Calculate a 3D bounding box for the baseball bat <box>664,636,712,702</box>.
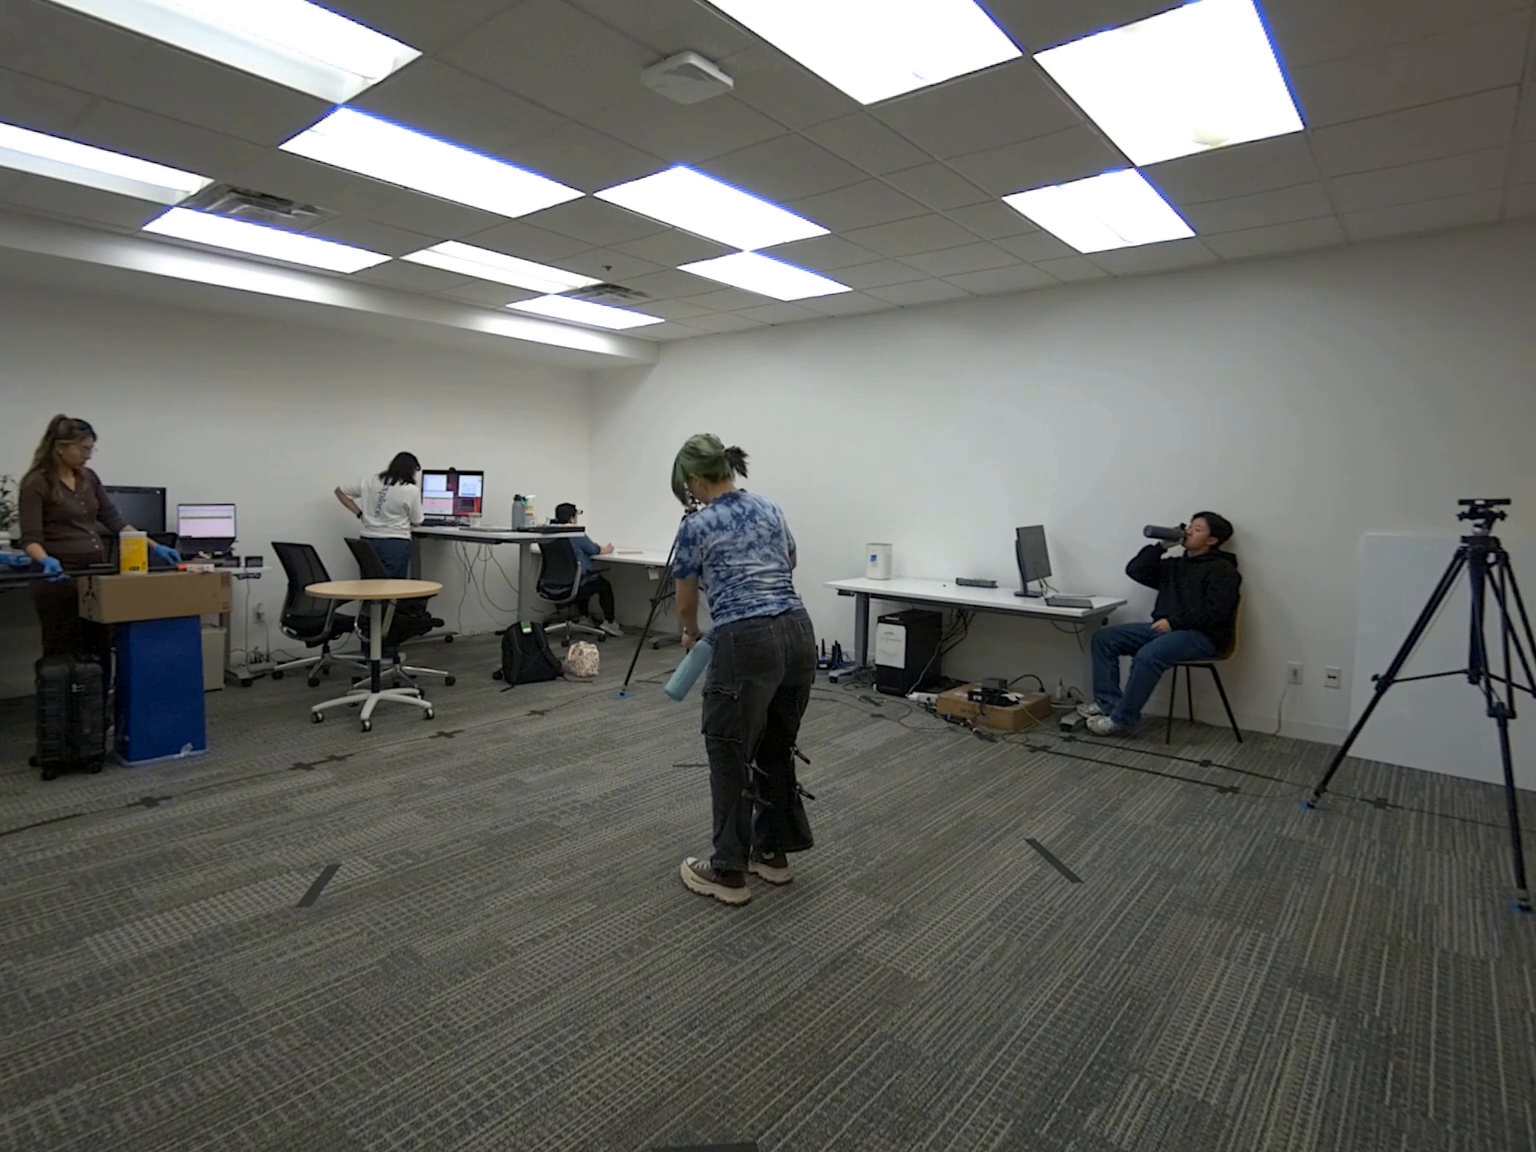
[{"bbox_3d":[-0.245,0.265,3.403,0.090,0.545,0.087,31,-19,10],"label":"baseball bat"}]
